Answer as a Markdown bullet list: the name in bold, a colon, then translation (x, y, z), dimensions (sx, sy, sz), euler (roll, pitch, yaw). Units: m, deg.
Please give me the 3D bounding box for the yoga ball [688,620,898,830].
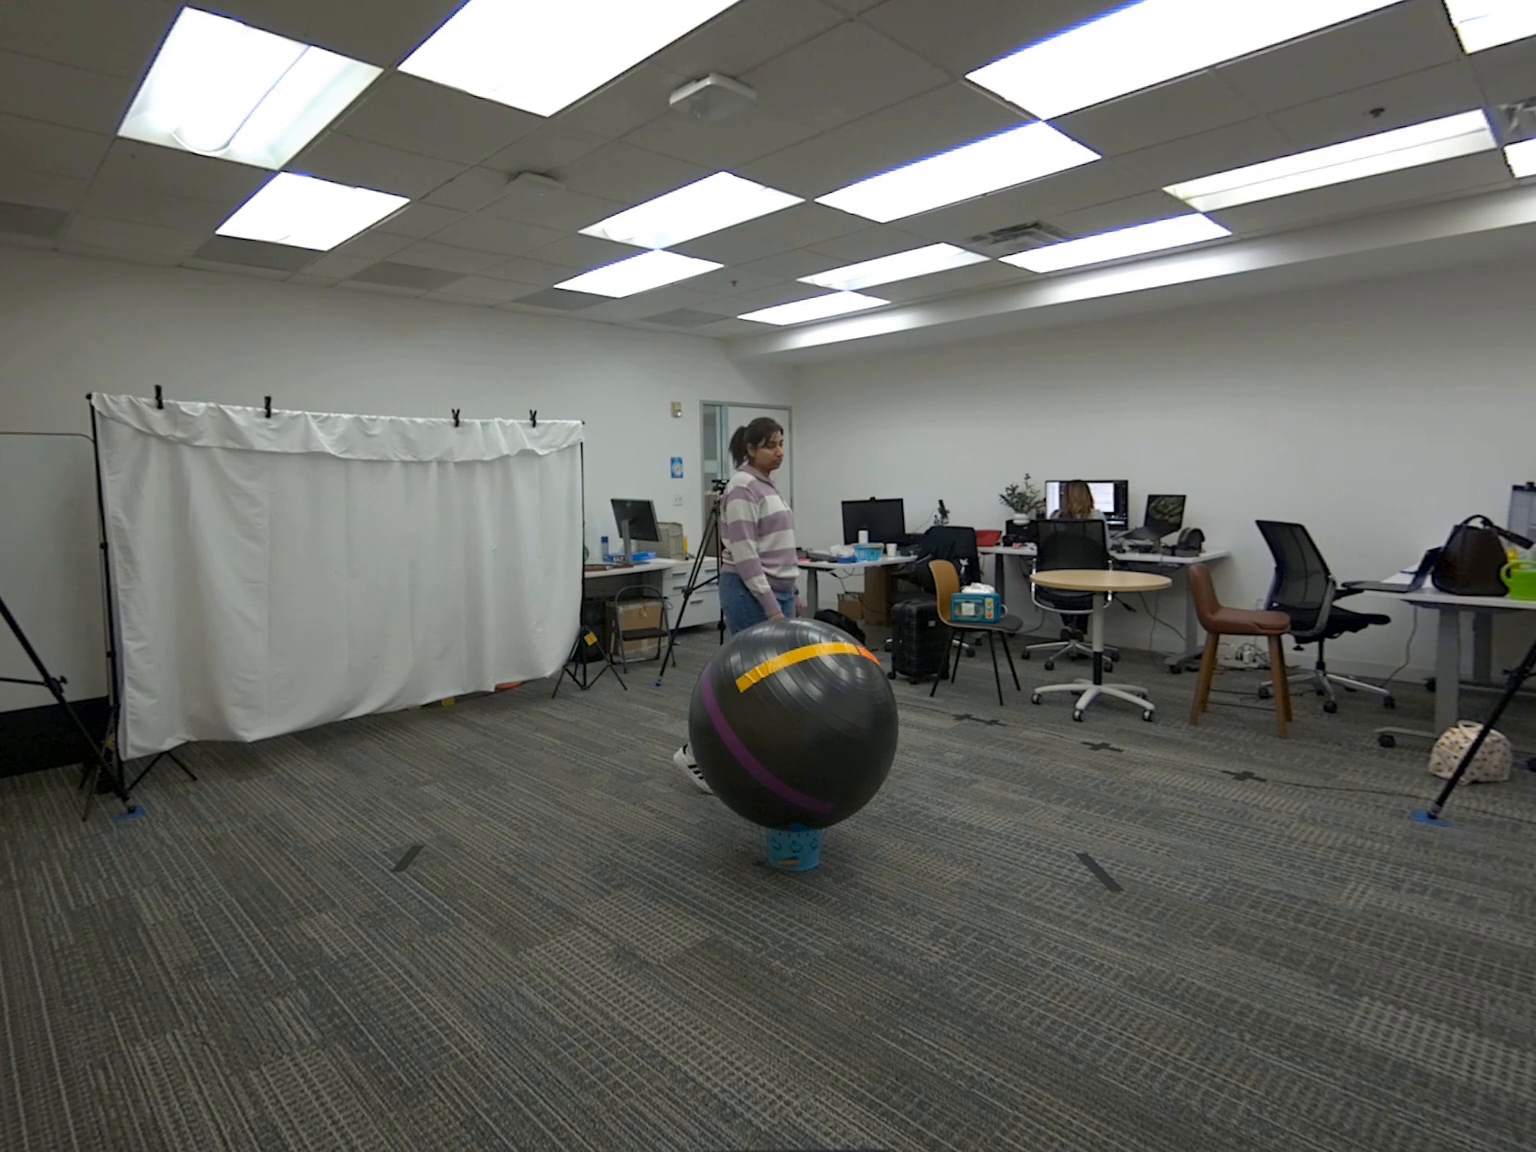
- **yoga ball**: translation (0.089, 0.537, 3.106), dimensions (0.757, 0.755, 0.762), euler (-1, 5, -2)
